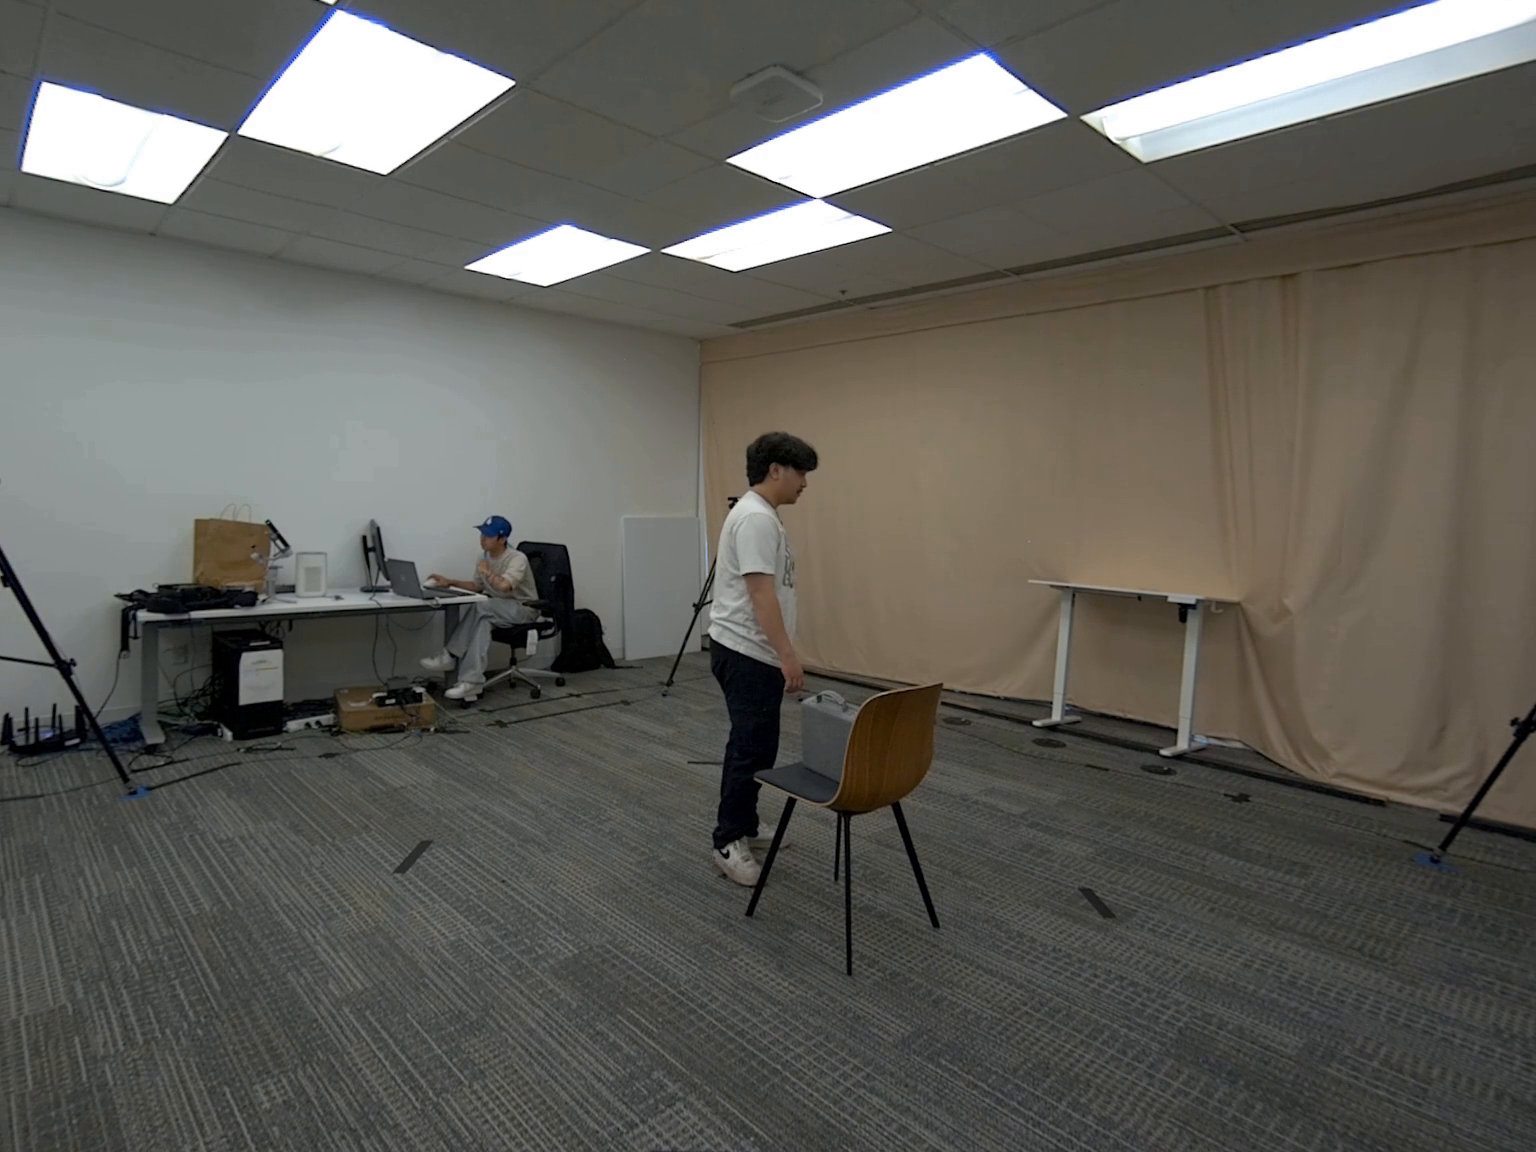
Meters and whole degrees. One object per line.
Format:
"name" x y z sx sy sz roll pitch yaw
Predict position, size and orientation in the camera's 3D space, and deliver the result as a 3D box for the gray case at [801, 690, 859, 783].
"gray case" 0.225 0.543 2.779 0.102 0.258 0.264 -13 16 -40
